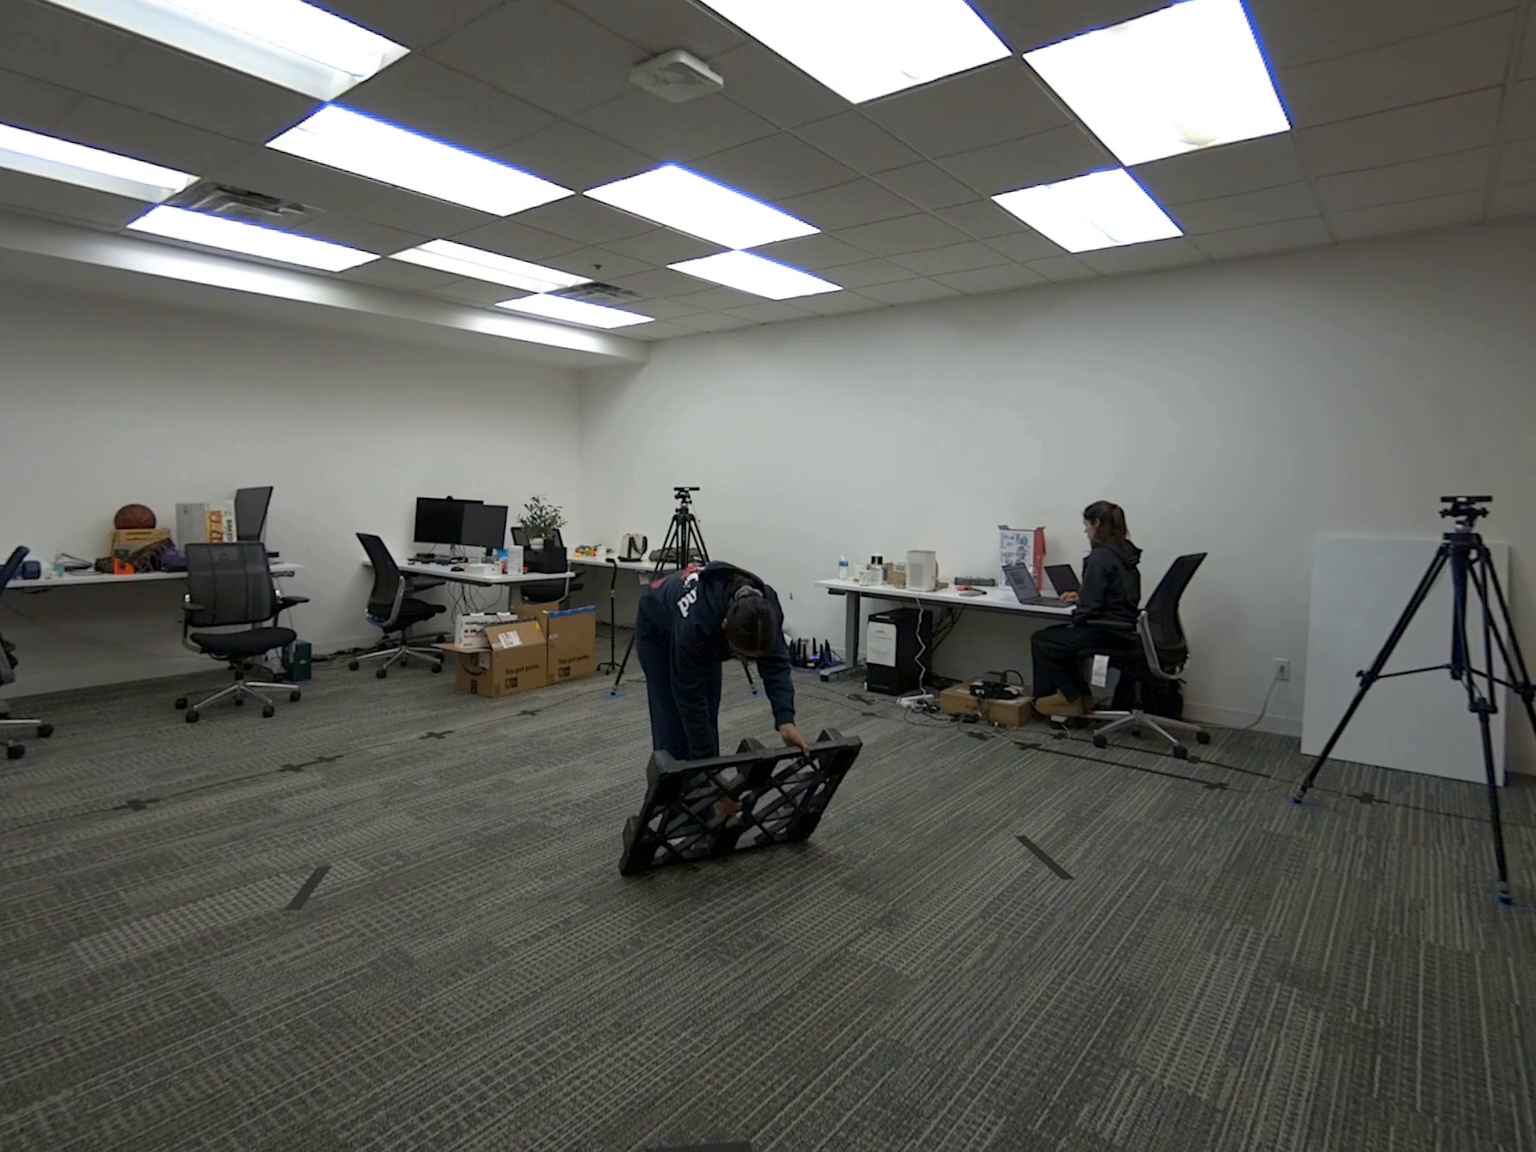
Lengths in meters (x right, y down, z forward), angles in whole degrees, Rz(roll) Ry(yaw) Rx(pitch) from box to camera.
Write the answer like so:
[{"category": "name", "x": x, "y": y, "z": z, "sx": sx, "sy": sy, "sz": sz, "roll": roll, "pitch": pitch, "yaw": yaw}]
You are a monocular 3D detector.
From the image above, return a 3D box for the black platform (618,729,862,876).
[{"category": "black platform", "x": -0.120, "y": 0.793, "z": 3.083, "sx": 0.785, "sy": 0.596, "sz": 0.149, "roll": -1, "pitch": 41, "yaw": -28}]
